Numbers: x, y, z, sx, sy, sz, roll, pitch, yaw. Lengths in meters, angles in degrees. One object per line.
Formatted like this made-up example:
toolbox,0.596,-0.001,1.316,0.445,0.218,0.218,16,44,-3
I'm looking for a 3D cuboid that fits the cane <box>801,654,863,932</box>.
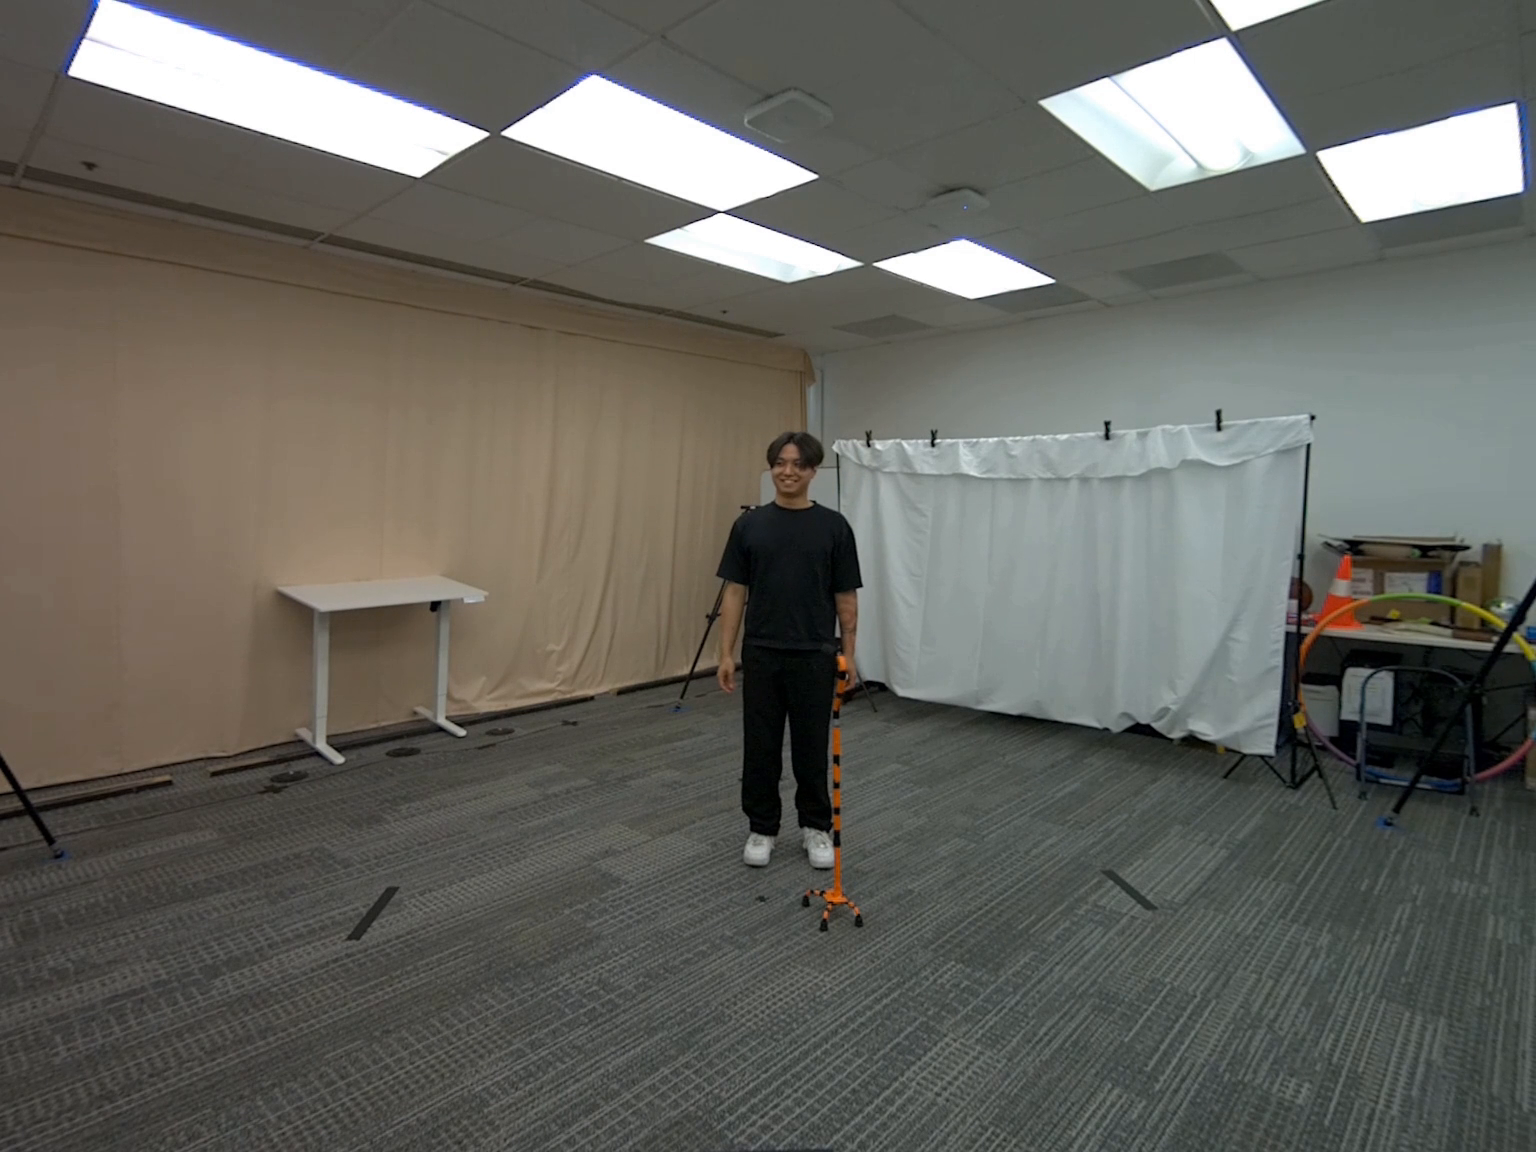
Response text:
cane,0.219,0.694,2.847,0.149,0.906,0.210,-1,2,-17
